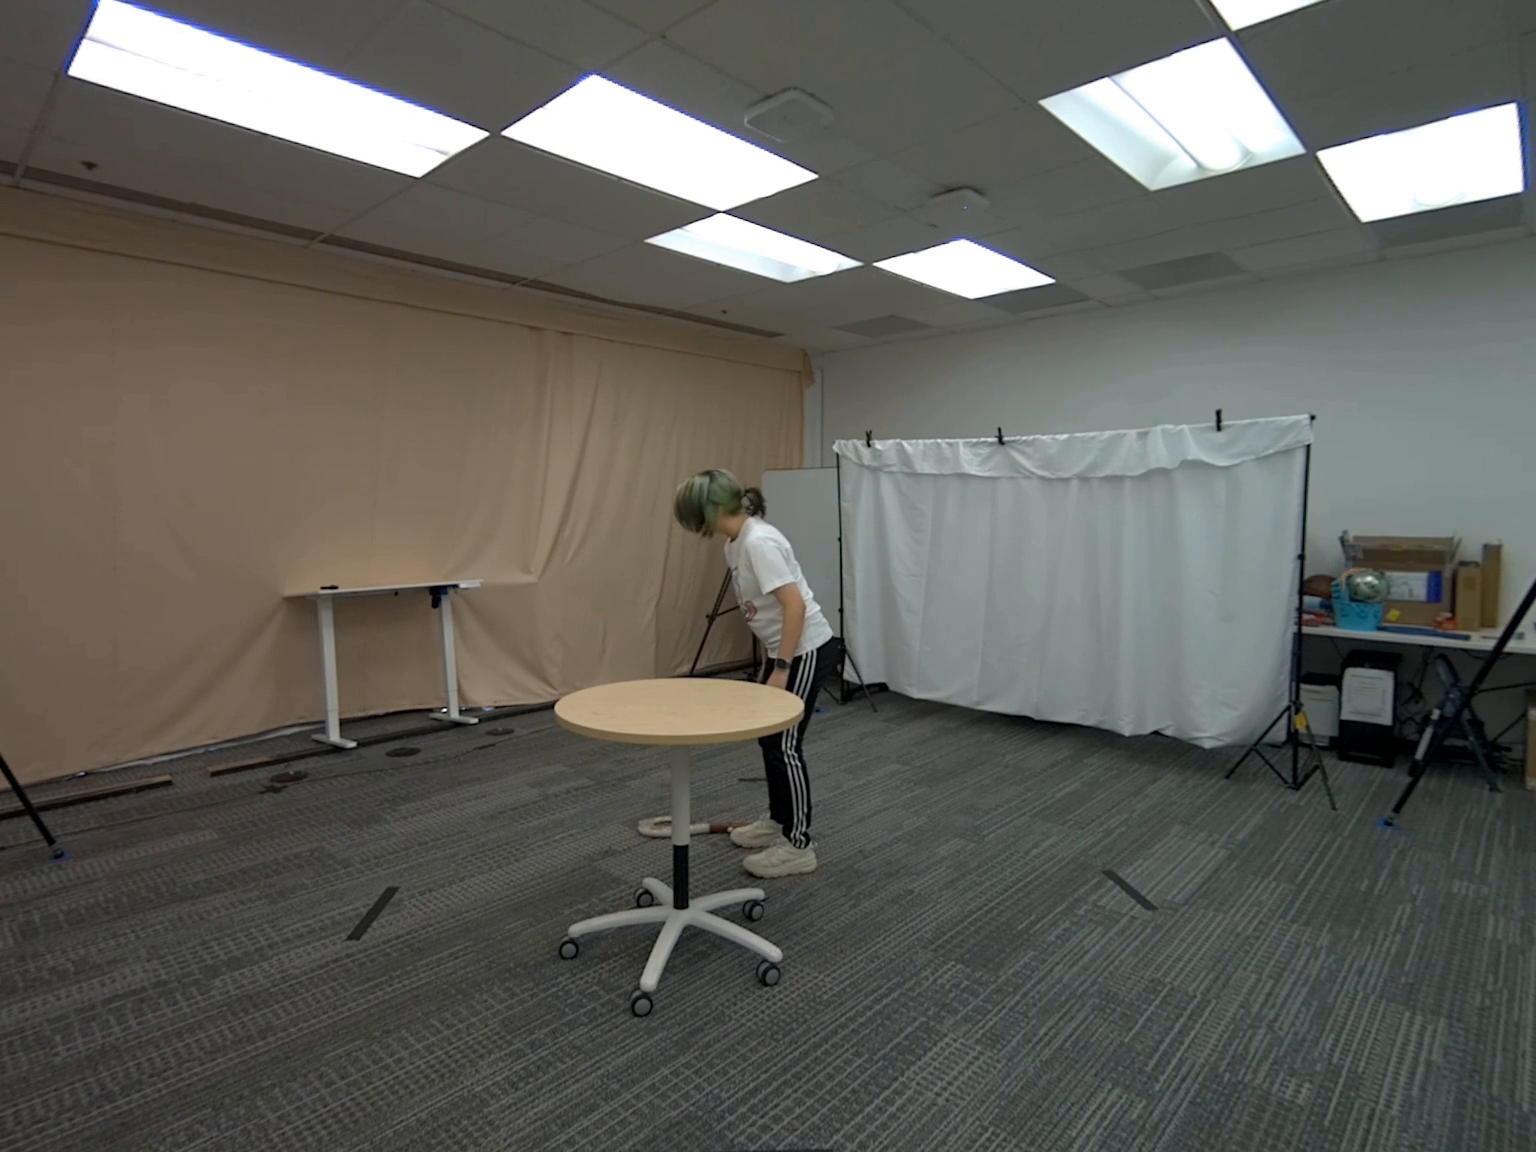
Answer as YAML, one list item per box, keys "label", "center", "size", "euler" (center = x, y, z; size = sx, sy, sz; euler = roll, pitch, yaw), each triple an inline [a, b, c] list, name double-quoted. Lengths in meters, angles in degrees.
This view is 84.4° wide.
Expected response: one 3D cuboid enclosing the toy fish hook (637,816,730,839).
- label: "toy fish hook"
  center: [-0.309, 1.073, 3.635]
  size: [0.506, 0.048, 0.226]
  euler: [0, 6, -2]
